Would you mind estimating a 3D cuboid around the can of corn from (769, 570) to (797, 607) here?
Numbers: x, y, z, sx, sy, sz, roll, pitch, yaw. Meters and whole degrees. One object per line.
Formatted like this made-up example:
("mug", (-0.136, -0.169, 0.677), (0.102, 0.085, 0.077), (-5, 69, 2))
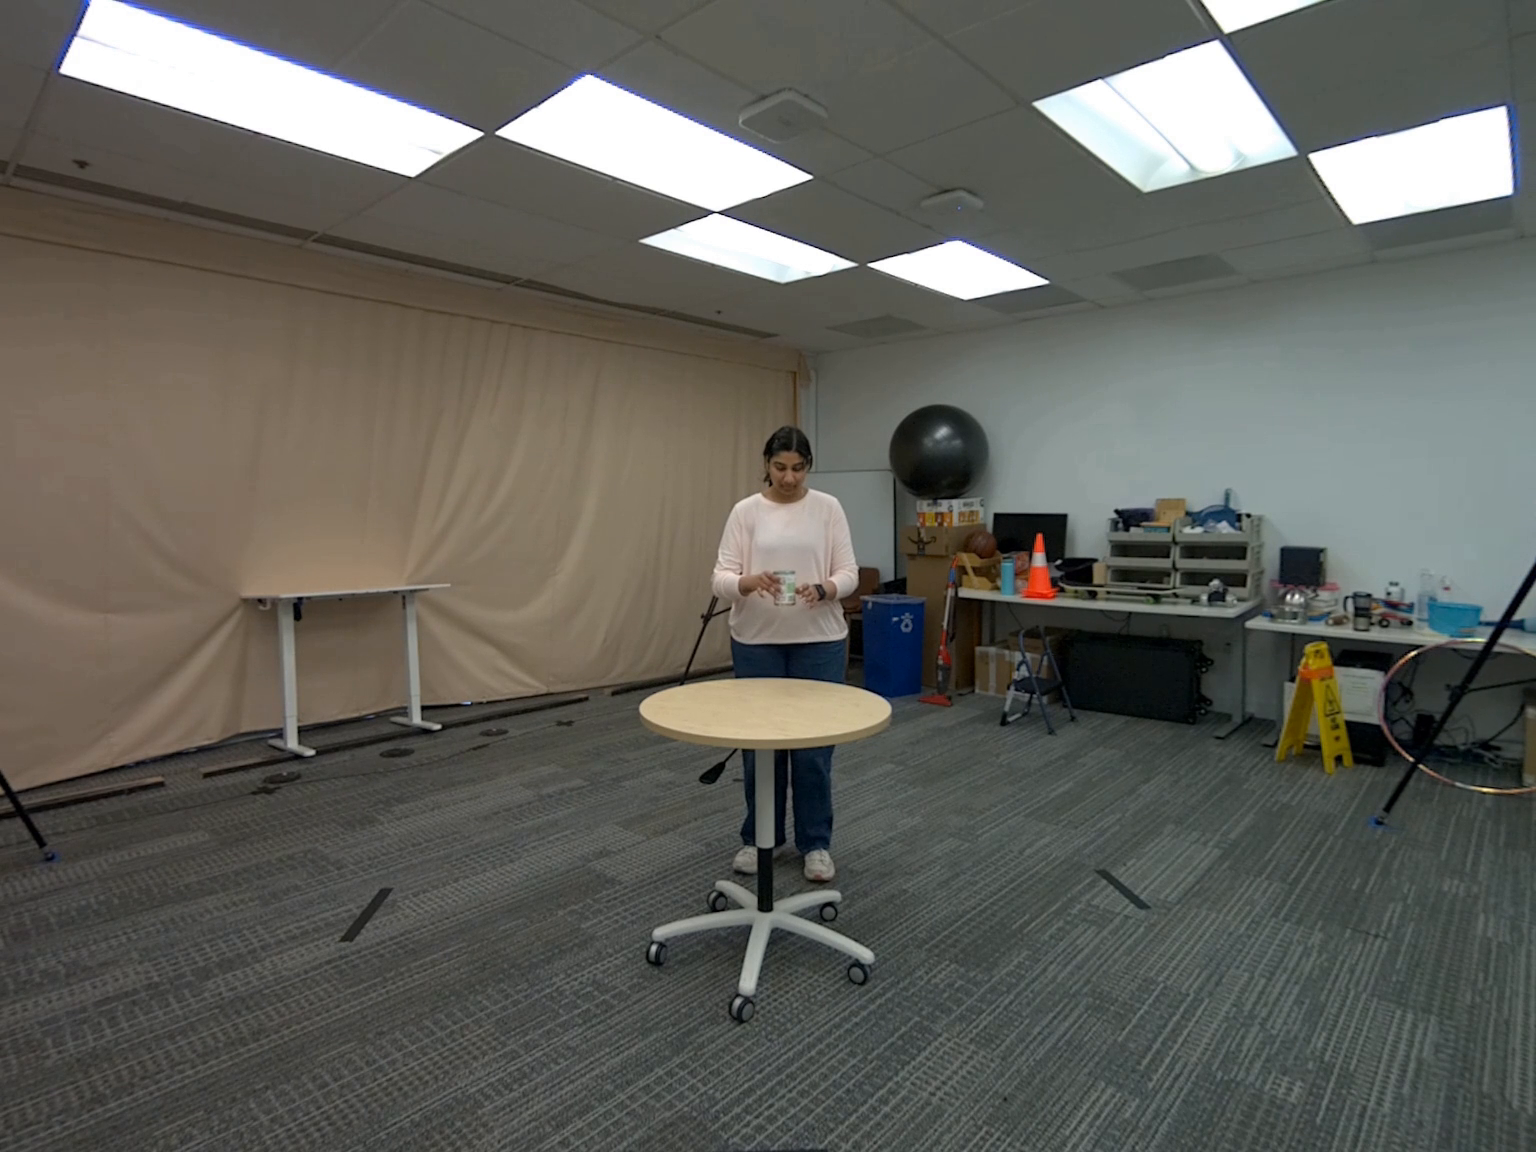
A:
("can of corn", (0.048, 0.044, 2.855), (0.074, 0.110, 0.074), (-4, 5, -1))
